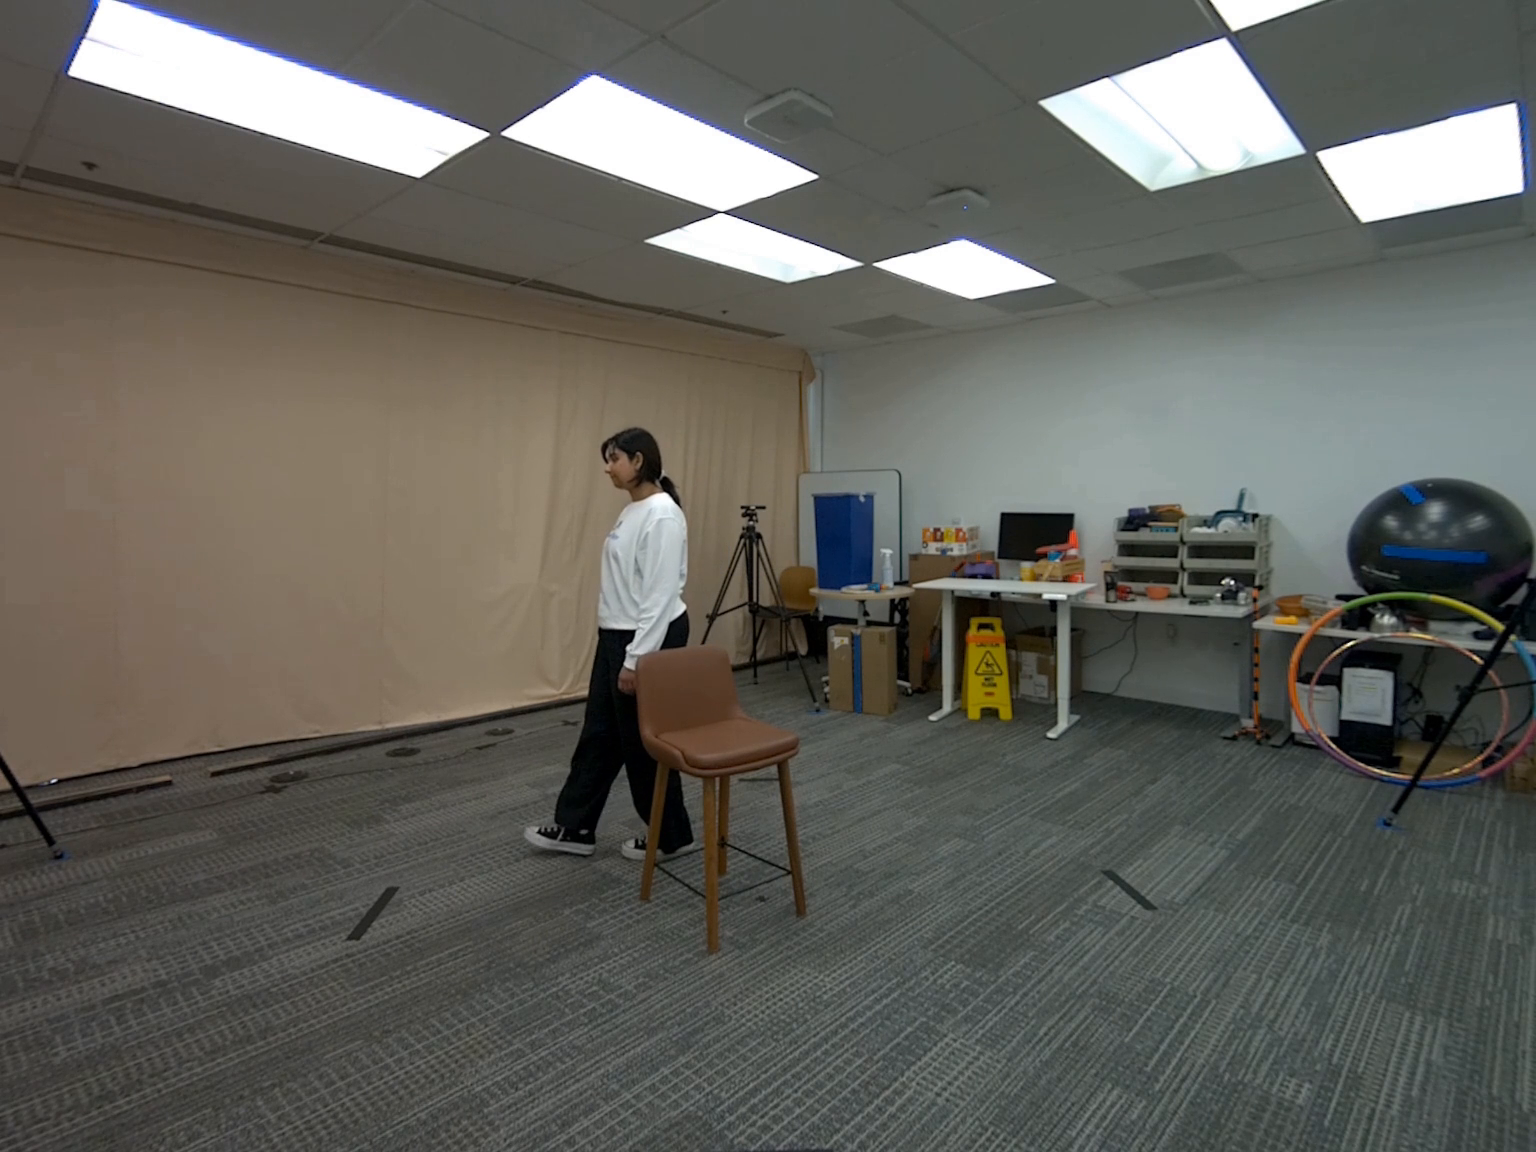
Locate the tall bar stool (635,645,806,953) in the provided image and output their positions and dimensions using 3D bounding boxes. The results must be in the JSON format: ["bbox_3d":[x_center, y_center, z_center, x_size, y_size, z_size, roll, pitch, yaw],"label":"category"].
[{"bbox_3d":[-0.167,0.712,2.897,0.443,0.889,0.482,-3,2,-39],"label":"tall bar stool"}]
